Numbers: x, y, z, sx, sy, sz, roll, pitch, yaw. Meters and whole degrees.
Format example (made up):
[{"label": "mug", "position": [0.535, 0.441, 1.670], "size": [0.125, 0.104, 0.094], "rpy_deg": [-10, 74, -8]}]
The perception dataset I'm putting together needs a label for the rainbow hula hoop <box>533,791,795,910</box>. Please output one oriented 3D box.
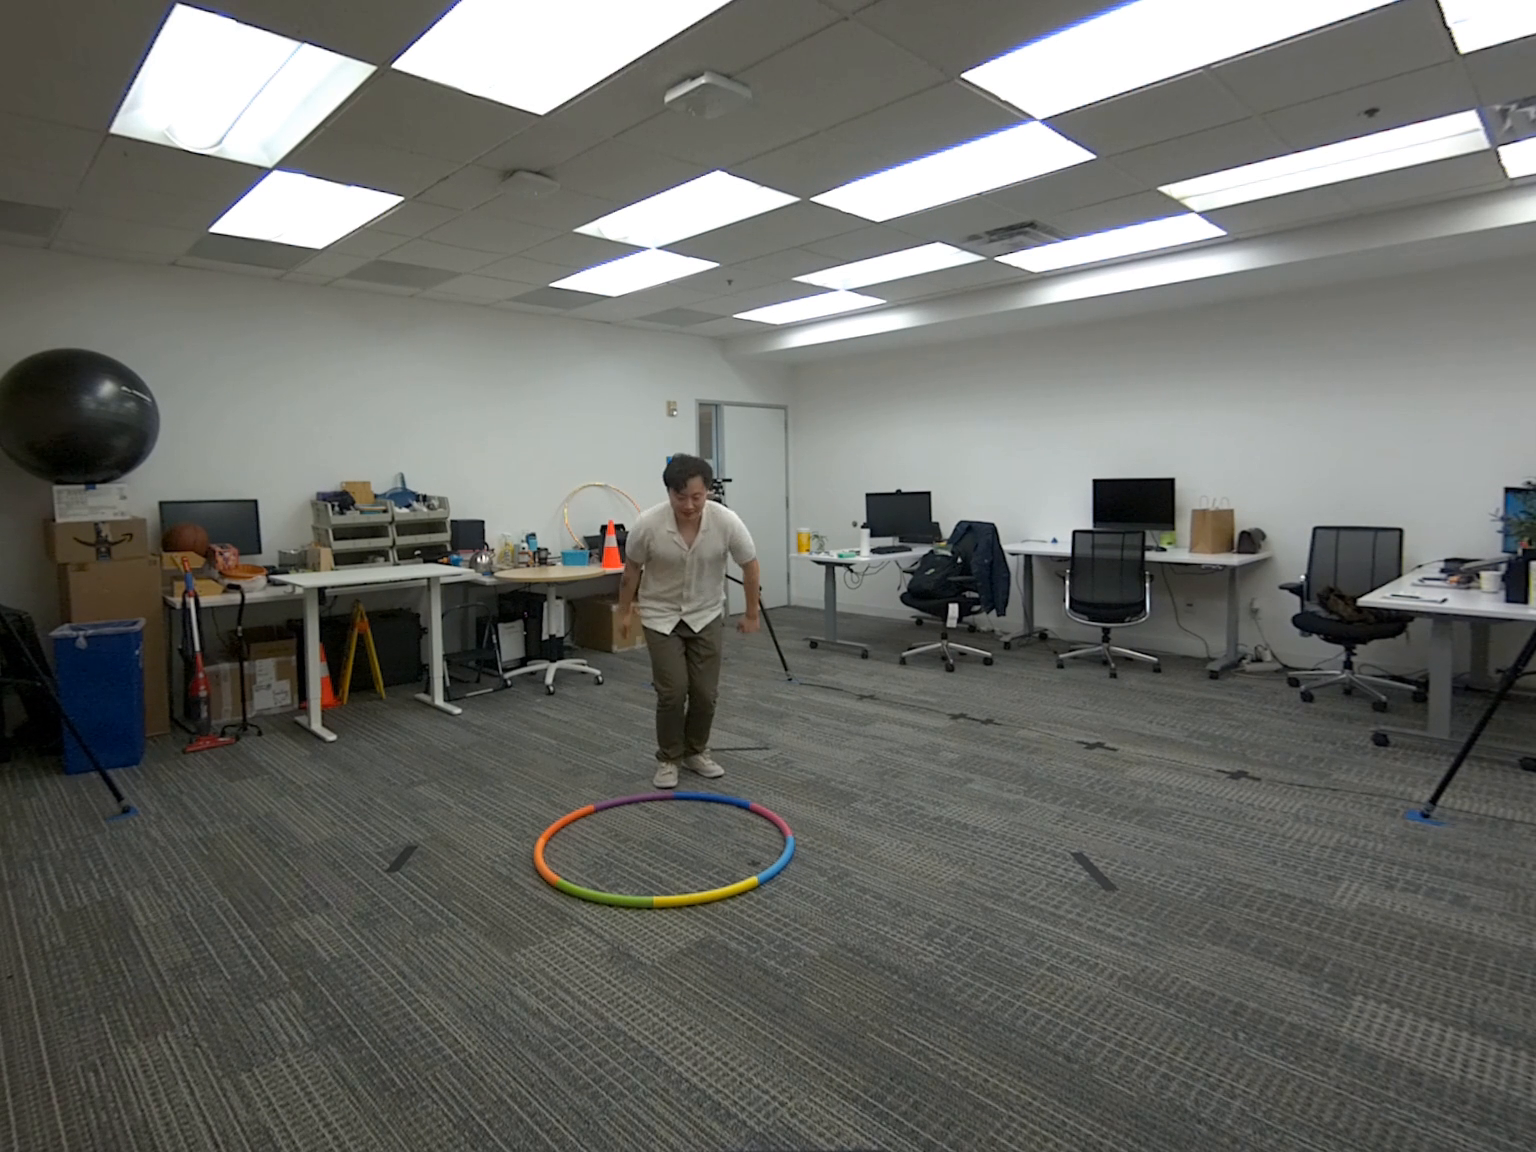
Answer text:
[{"label": "rainbow hula hoop", "position": [-0.390, 1.002, 3.273], "size": [0.978, 0.035, 0.984], "rpy_deg": [-1, 6, -2]}]
